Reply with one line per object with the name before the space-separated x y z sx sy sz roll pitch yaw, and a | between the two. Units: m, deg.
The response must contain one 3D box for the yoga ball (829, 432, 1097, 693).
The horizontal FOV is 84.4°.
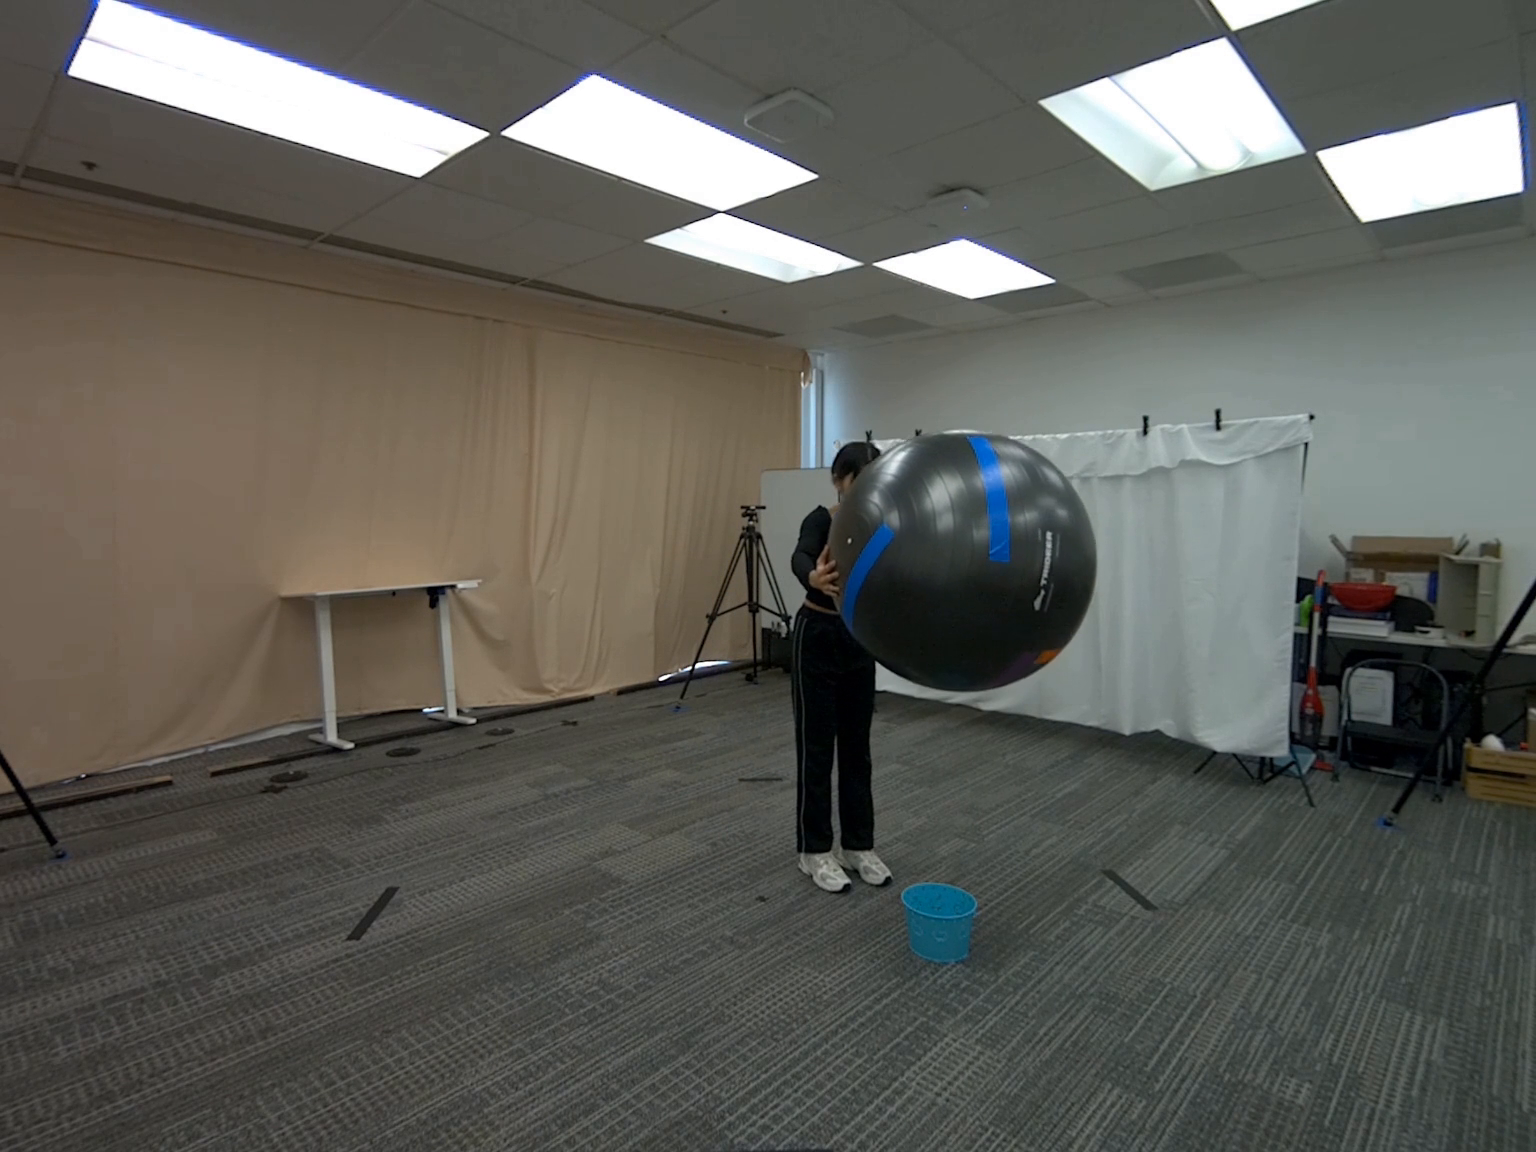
yoga ball | 0.561 -0.038 2.453 0.757 0.756 0.760 0 4 -2
